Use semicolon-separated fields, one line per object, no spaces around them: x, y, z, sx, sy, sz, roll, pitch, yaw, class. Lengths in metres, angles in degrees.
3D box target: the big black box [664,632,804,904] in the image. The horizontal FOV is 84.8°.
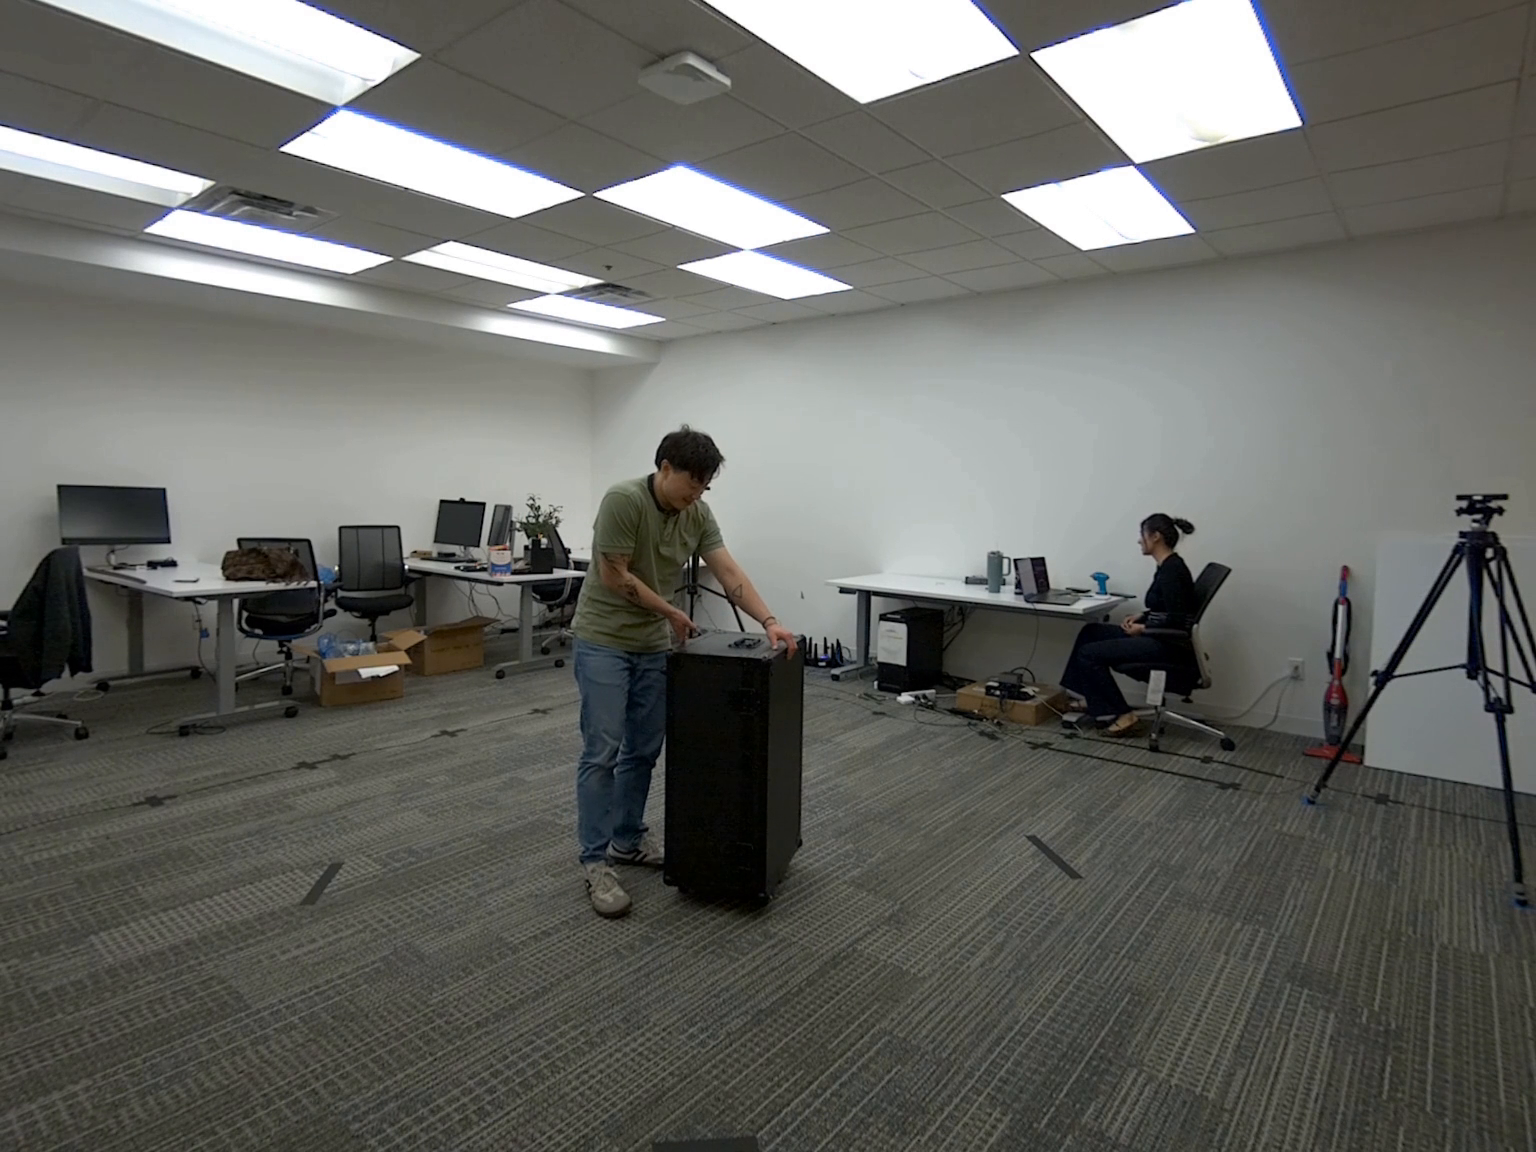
-0.123;0.654;2.964;0.404;0.859;0.512;1;3;18;big black box
